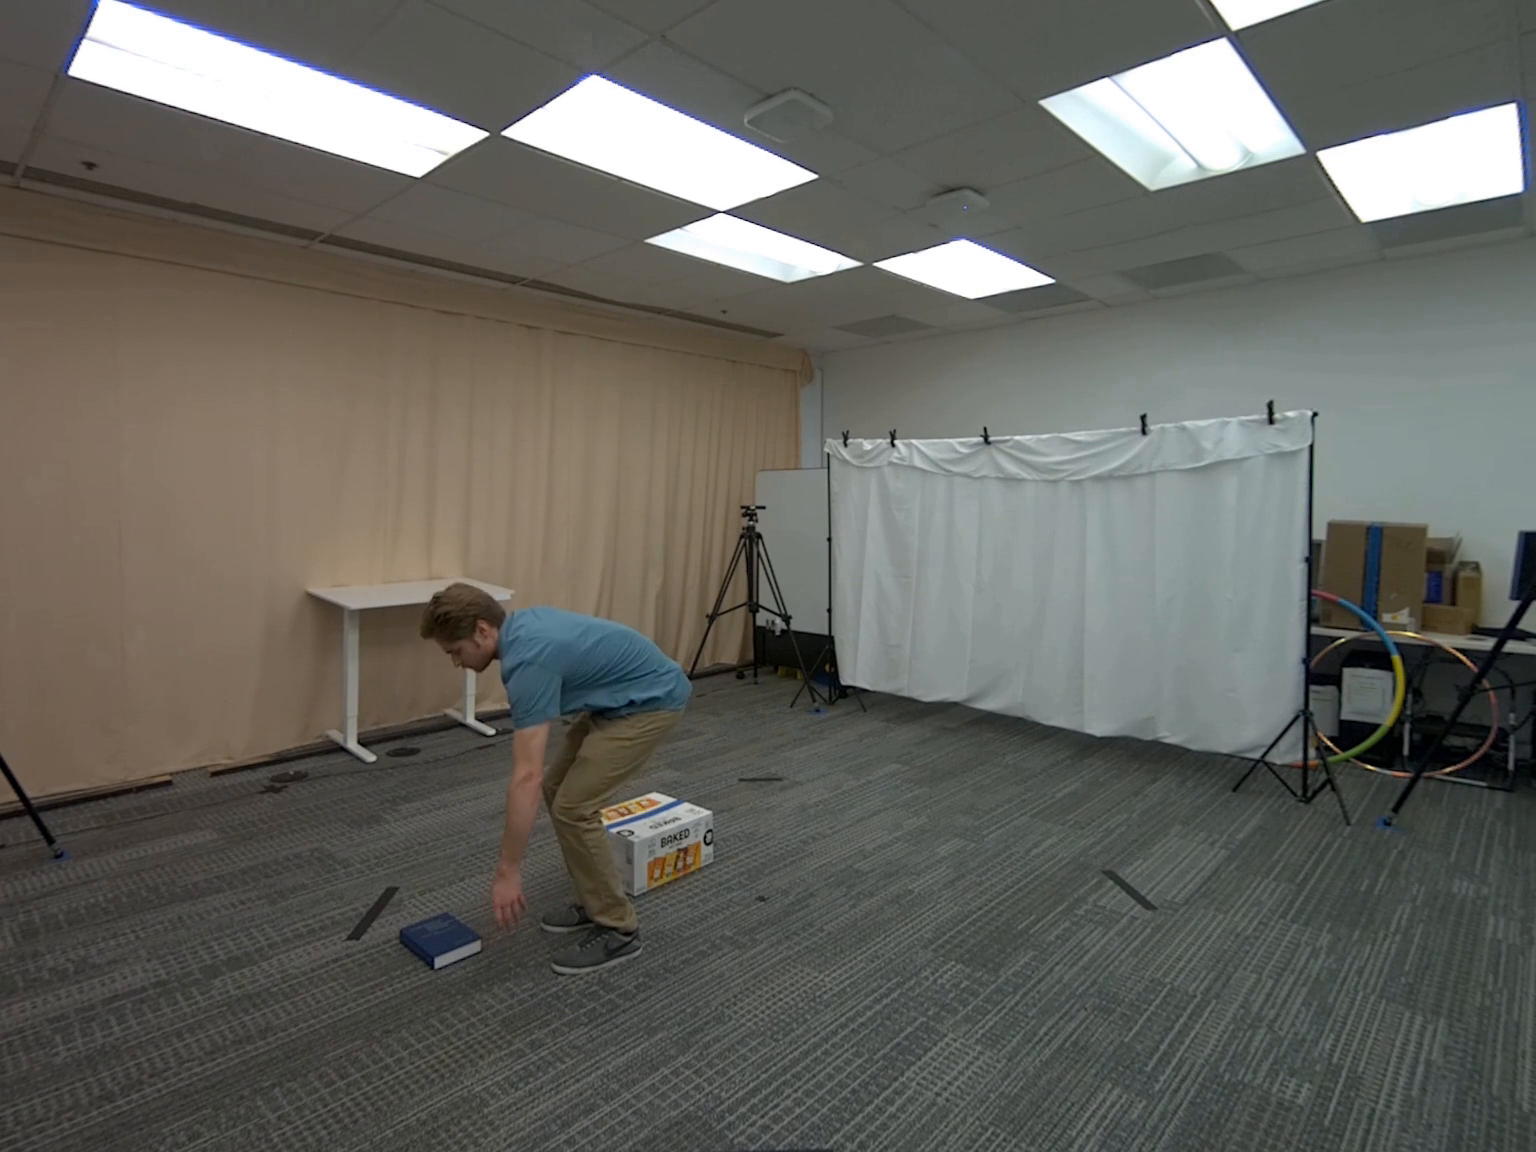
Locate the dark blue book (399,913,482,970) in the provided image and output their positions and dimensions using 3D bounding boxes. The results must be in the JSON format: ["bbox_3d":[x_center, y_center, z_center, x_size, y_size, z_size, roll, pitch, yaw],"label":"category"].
[{"bbox_3d":[-1.040,1.163,2.668,0.253,0.045,0.158,3,5,43],"label":"dark blue book"}]
